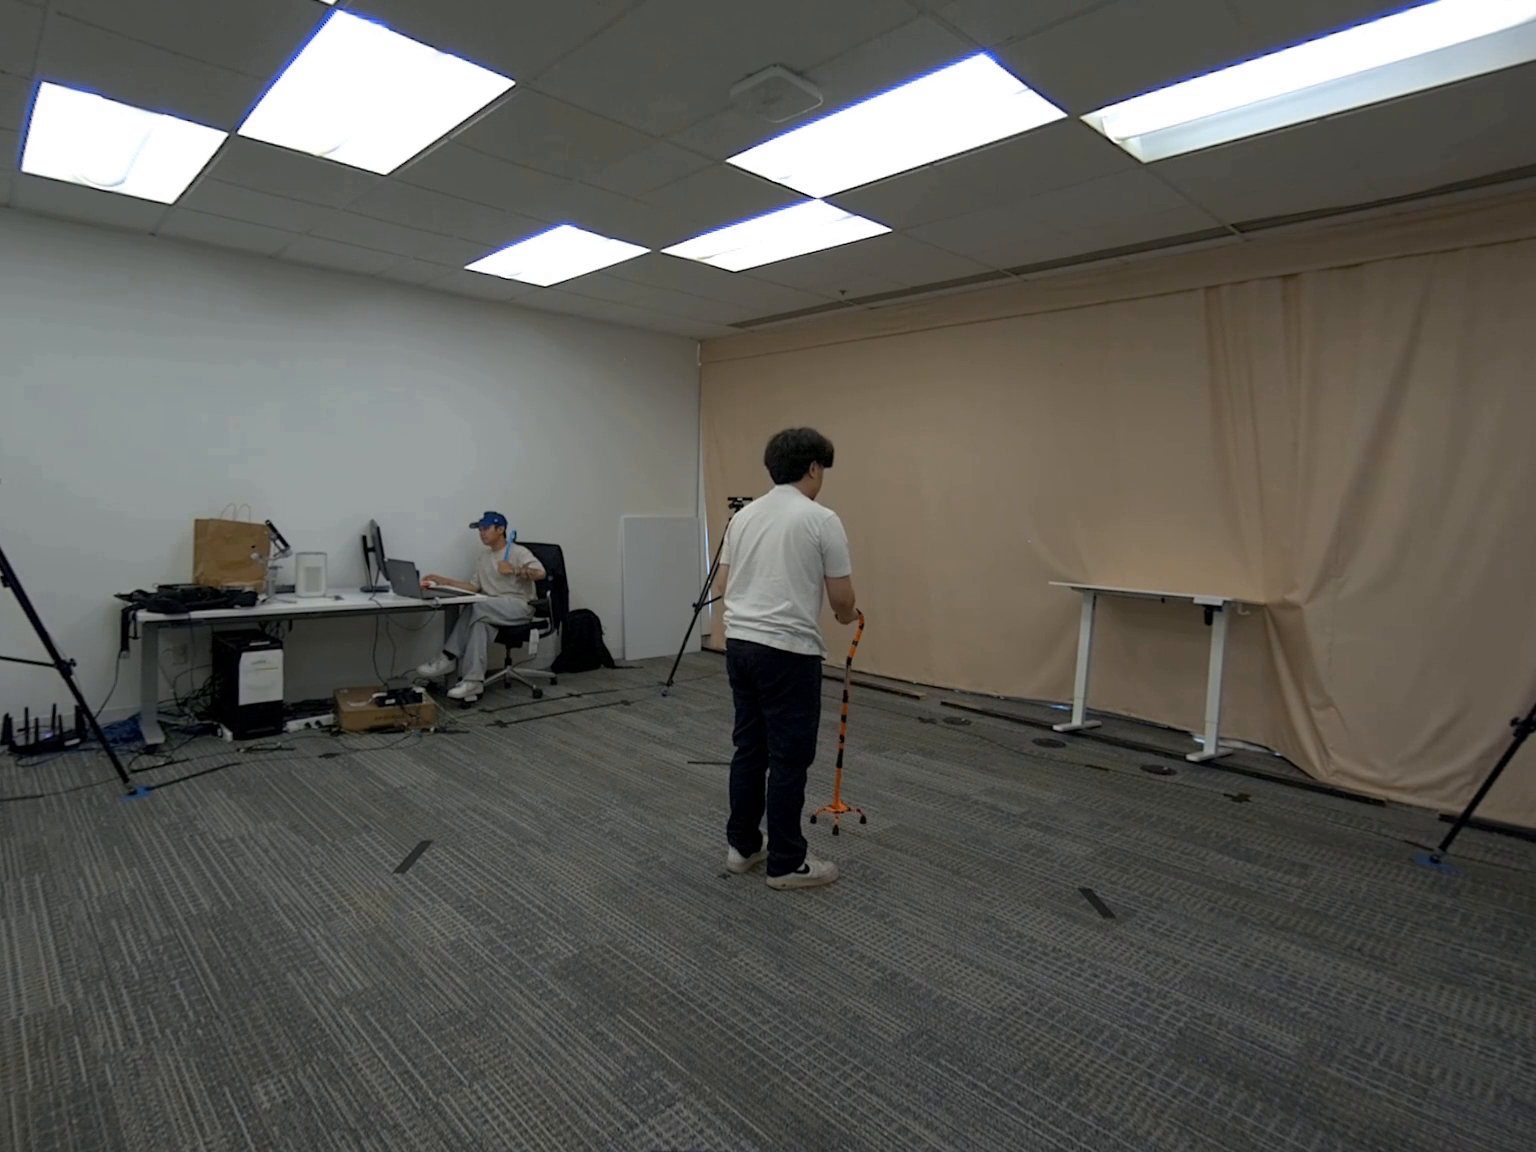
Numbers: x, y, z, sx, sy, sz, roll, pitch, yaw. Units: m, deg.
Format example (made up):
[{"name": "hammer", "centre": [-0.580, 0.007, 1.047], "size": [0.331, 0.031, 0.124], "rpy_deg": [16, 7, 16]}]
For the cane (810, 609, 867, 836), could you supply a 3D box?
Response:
[{"name": "cane", "centre": [0.317, 0.588, 3.455], "size": [0.156, 0.903, 0.202], "rpy_deg": [10, 10, 44]}]
